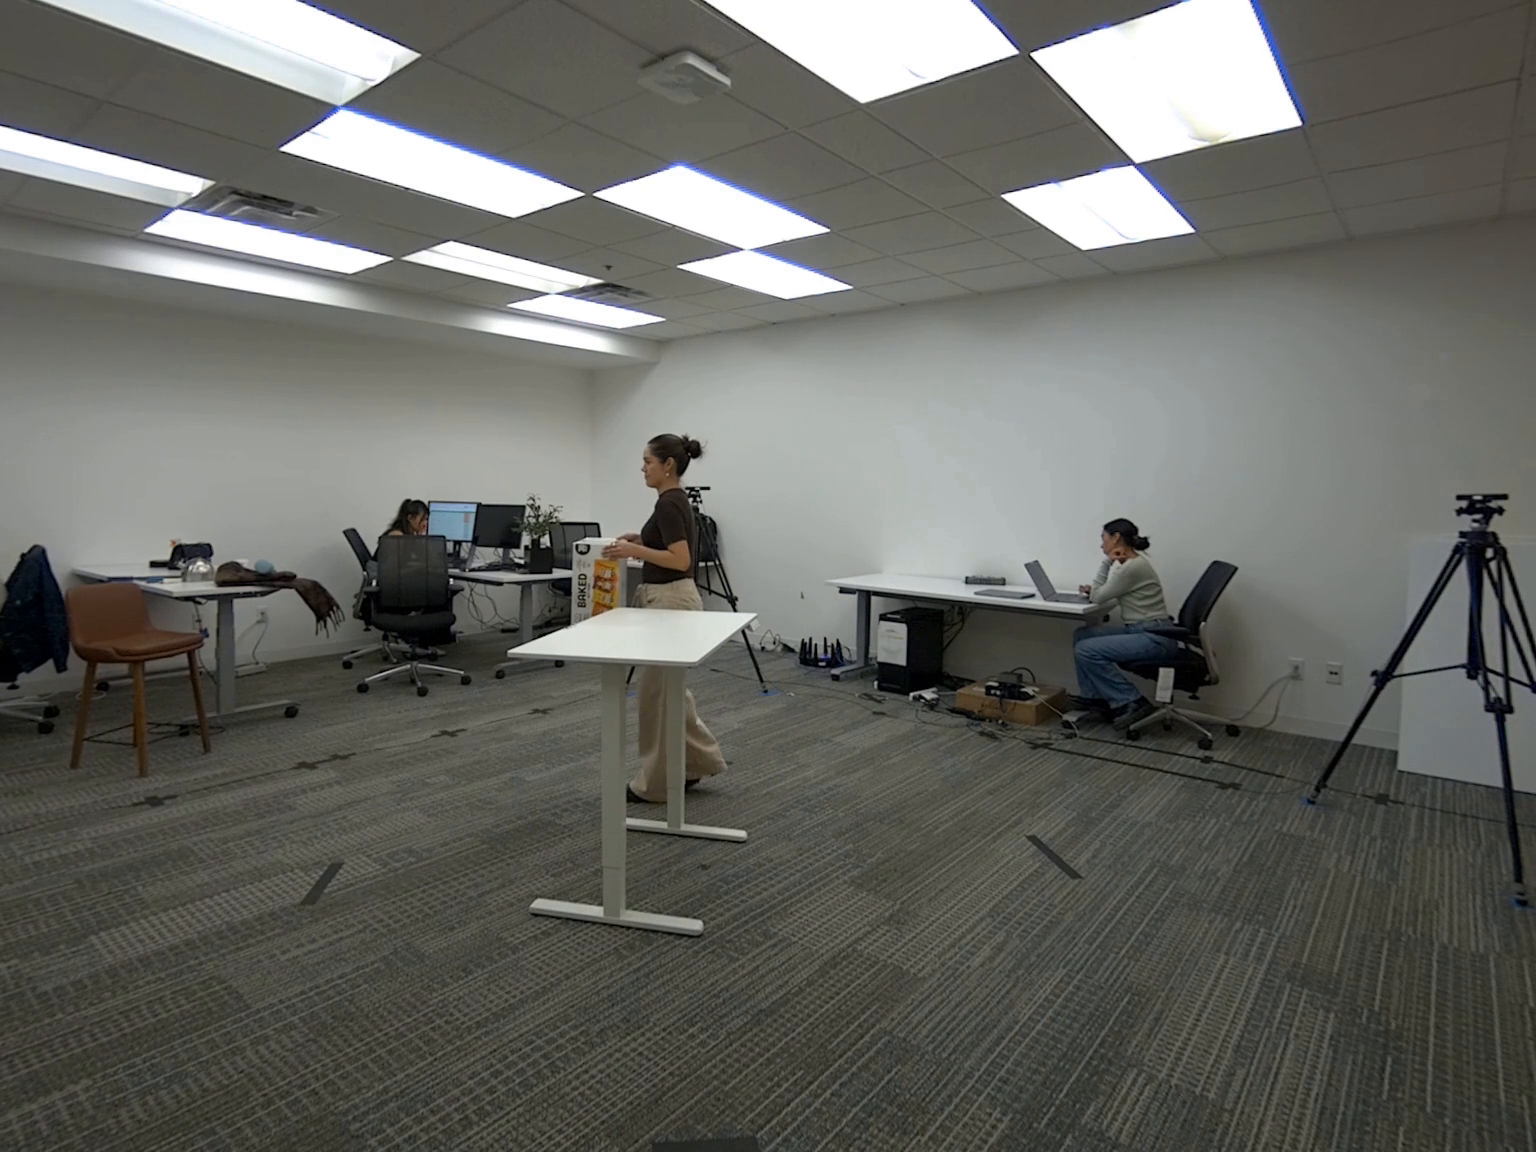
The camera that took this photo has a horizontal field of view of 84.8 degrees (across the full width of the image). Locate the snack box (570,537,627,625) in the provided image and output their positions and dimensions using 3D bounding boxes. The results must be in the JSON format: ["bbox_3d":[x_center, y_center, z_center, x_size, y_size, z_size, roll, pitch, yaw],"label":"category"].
[{"bbox_3d":[-0.773,0.040,3.839,0.205,0.404,0.342,2,4,-3],"label":"snack box"}]
